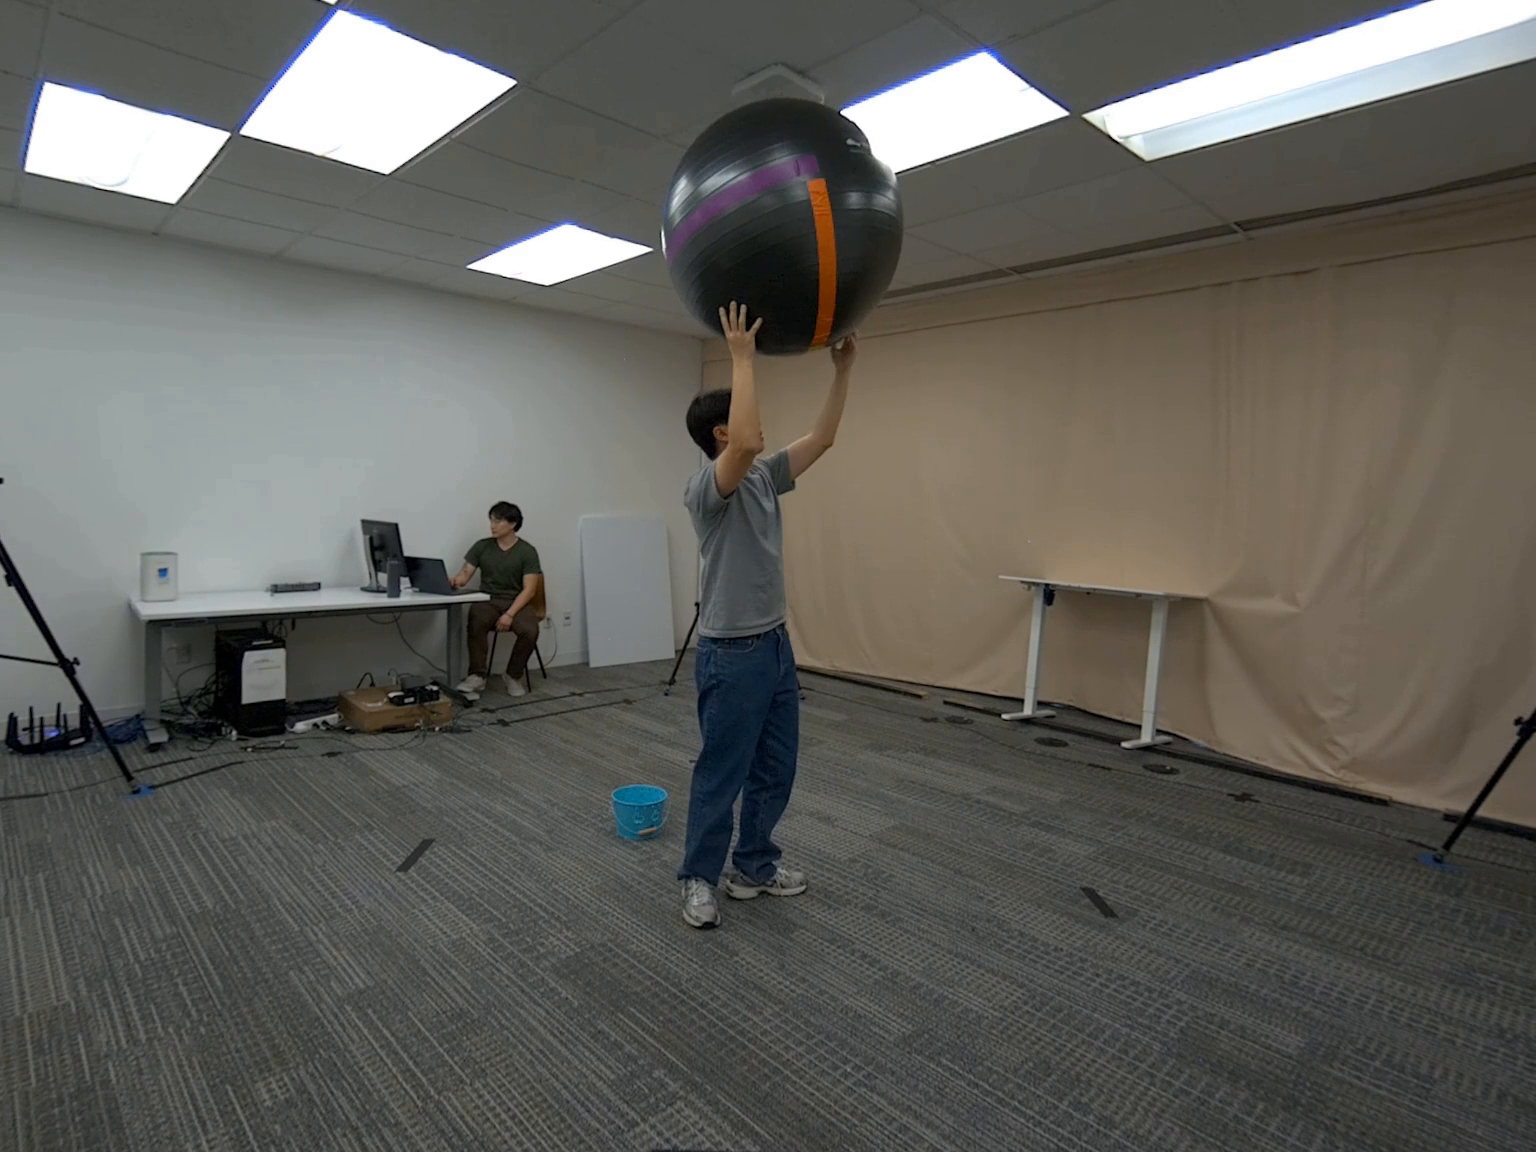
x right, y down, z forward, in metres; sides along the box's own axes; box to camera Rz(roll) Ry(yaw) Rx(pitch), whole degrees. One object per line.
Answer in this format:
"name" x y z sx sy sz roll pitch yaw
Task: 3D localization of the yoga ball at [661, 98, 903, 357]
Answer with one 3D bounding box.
"yoga ball" 0.040 -1.073 2.654 0.757 0.756 0.761 1 4 -1
